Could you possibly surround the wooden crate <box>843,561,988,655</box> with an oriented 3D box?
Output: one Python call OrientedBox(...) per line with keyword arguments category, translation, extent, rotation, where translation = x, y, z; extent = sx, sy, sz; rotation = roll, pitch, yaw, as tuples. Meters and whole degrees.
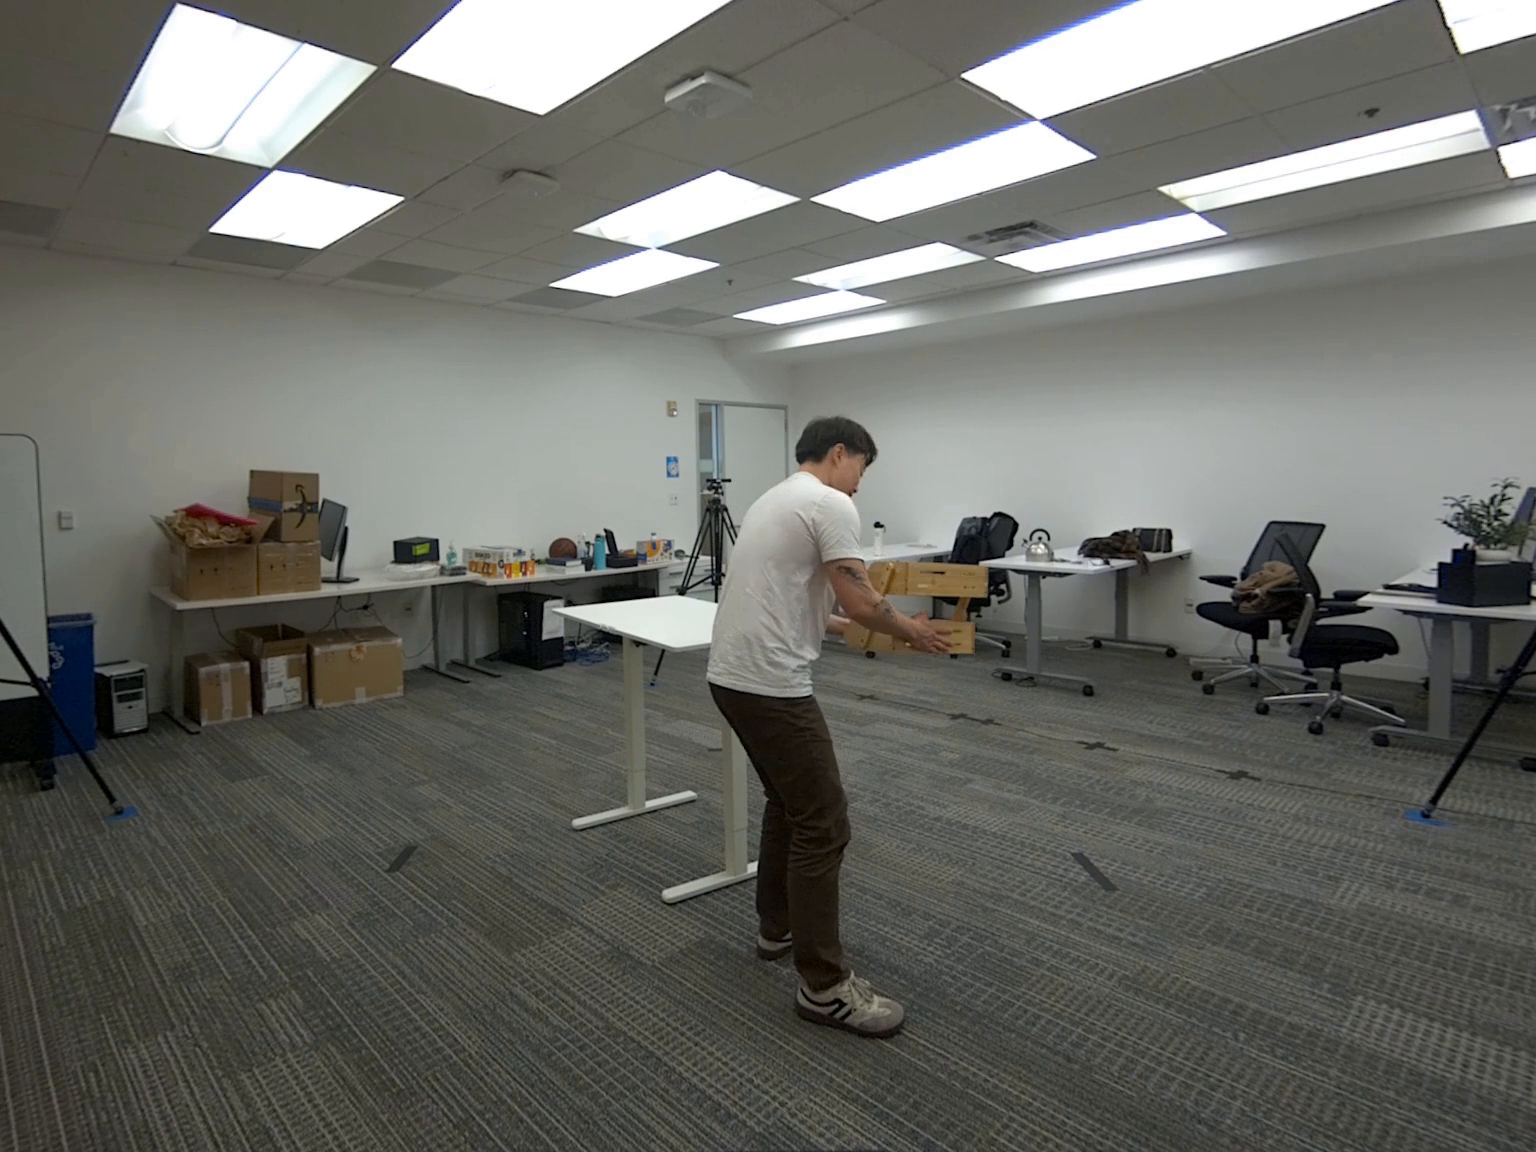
OrientedBox(category="wooden crate", translation=(0.433, 0.094, 2.565), extent=(0.316, 0.274, 0.309), rotation=(3, -2, -28))
